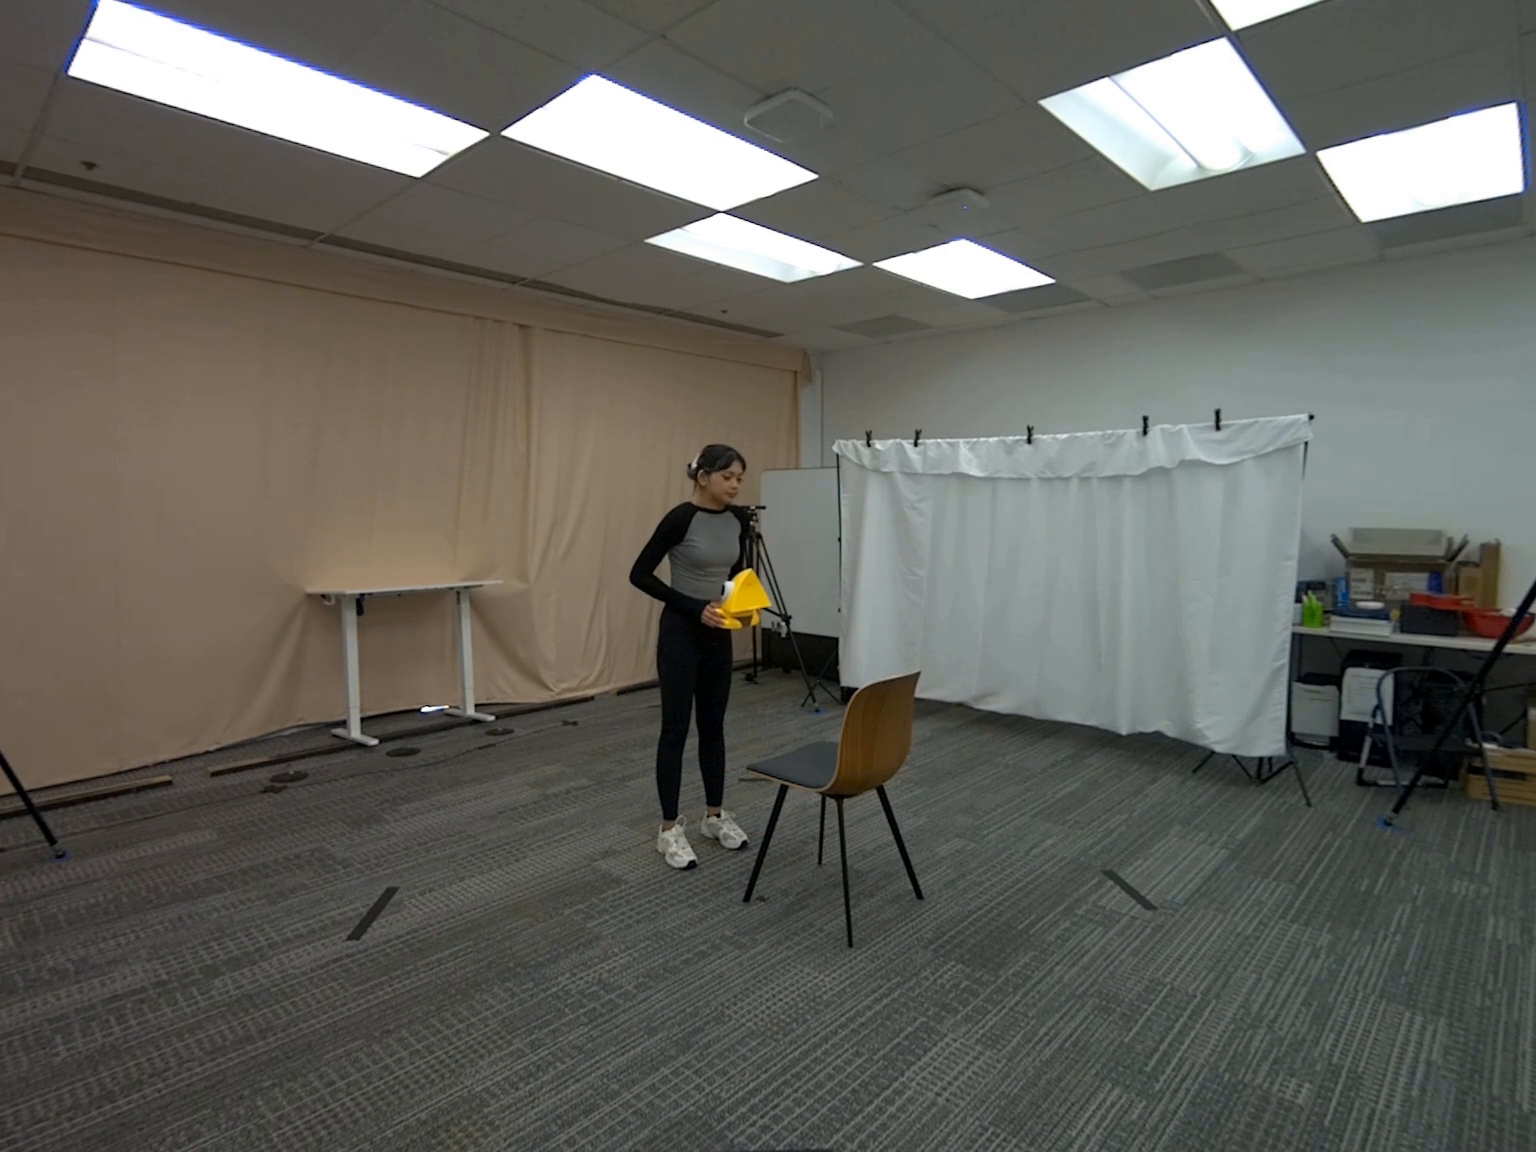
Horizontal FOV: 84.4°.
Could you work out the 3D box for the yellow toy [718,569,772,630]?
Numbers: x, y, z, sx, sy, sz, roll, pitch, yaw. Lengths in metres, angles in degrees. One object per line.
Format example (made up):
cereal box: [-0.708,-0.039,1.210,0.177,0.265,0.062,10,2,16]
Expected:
yellow toy: [-0.117,0.067,3.248,0.199,0.229,0.200,-7,20,-42]
